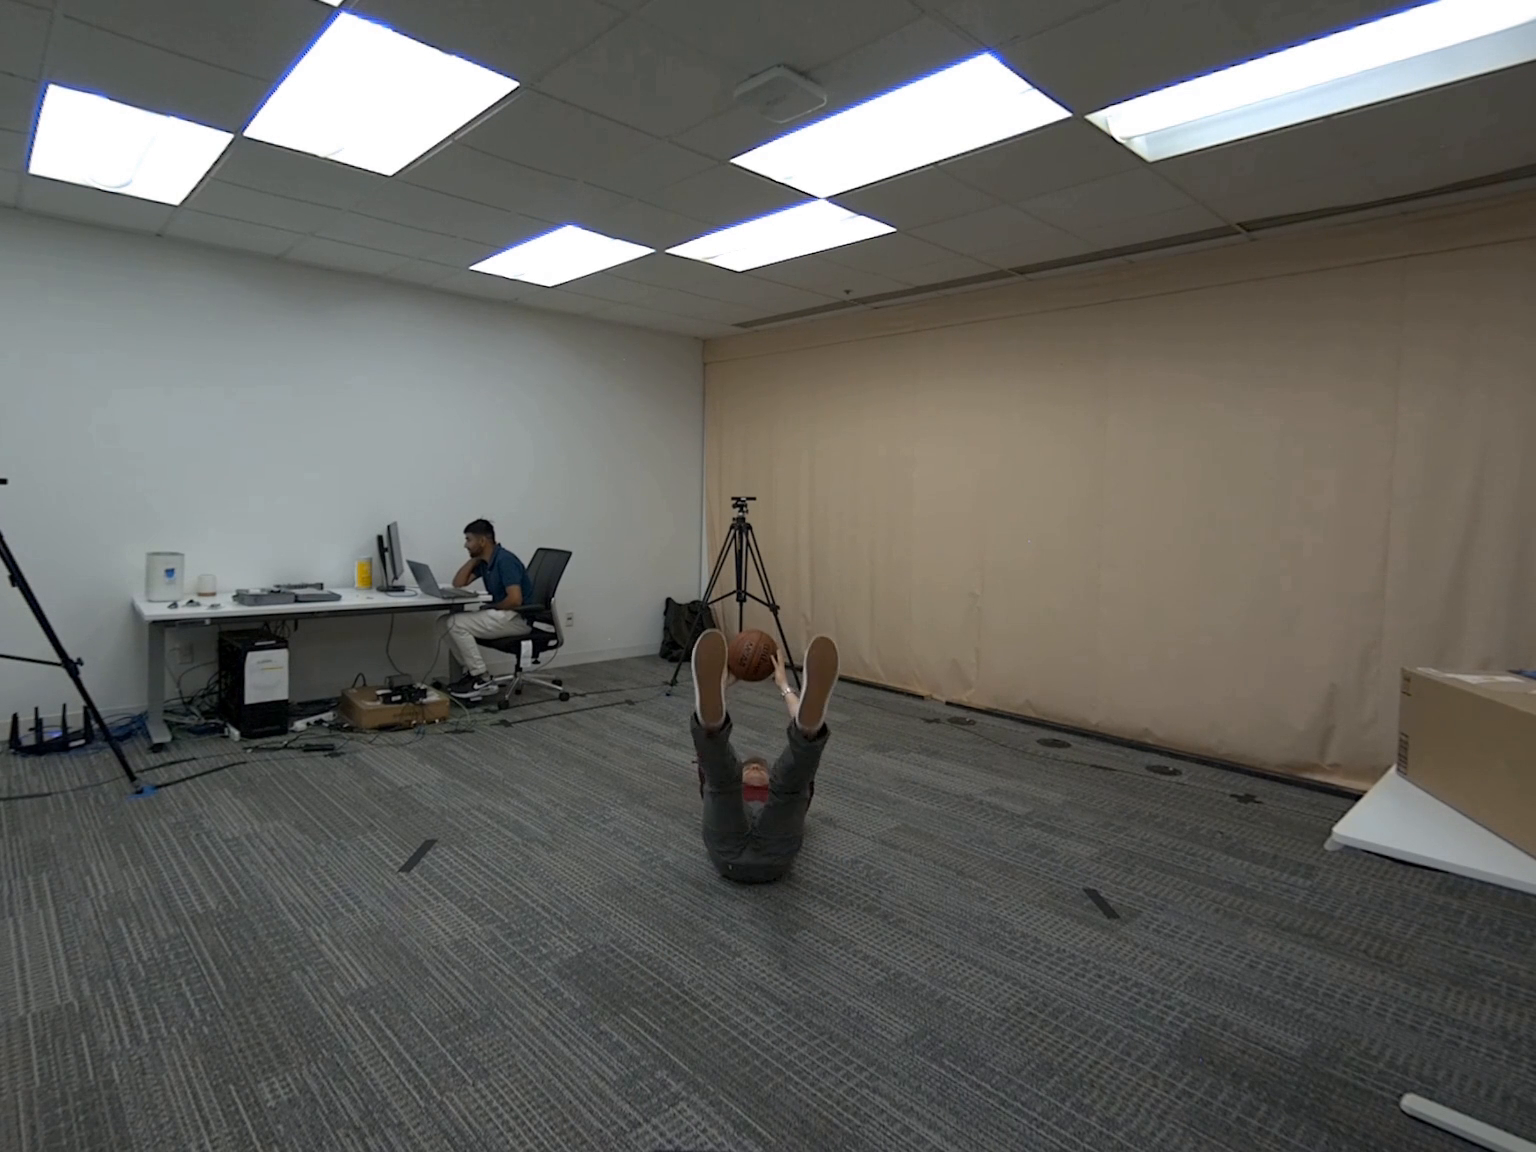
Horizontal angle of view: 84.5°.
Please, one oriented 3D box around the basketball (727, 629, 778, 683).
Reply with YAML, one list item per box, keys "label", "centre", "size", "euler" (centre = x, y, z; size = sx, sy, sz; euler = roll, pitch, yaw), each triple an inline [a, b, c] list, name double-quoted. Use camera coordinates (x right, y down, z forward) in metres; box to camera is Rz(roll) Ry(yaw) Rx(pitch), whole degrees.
- label: "basketball"
  centre: [-0.081, 0.364, 3.853]
  size: [0.236, 0.235, 0.237]
  euler: [1, 4, -1]
